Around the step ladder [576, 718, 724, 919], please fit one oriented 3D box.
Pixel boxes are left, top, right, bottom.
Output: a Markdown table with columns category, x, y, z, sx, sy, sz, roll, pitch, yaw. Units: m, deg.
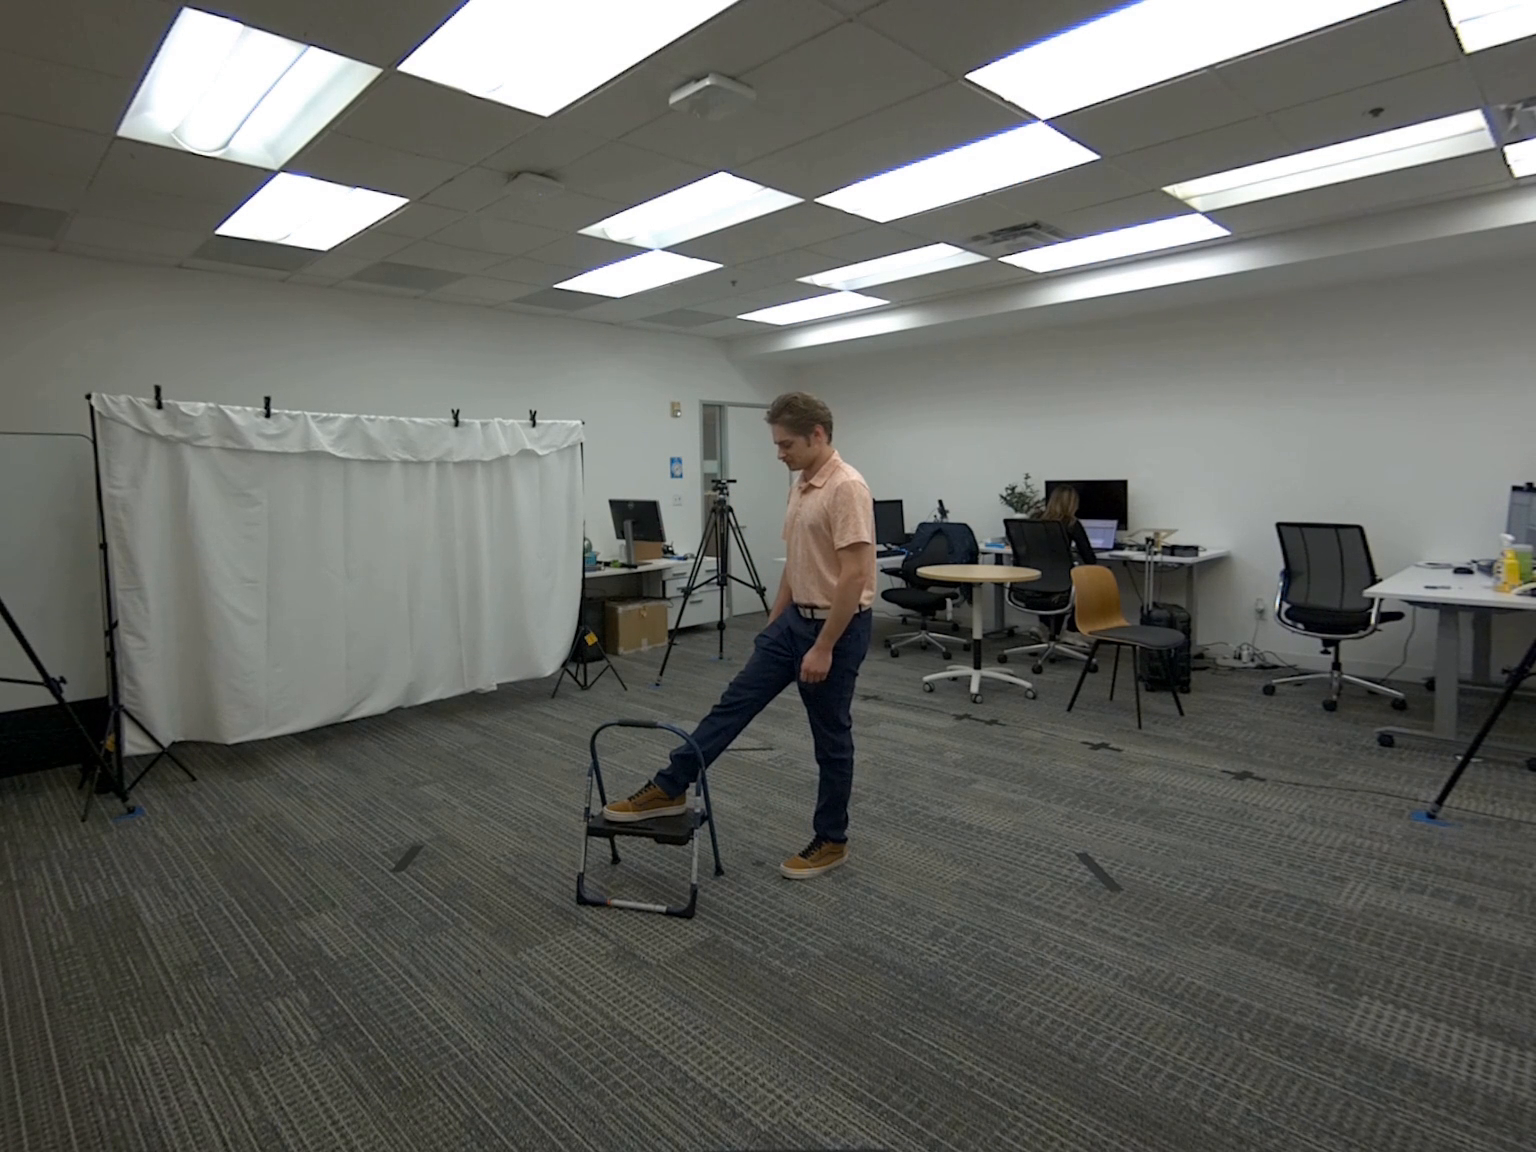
| category | x | y | z | sx | sy | sz | roll | pitch | yaw |
| --- | --- | --- | --- | --- | --- | --- | --- | --- | --- |
| step ladder | -0.404 | 0.775 | 2.918 | 0.437 | 0.604 | 0.346 | 0 | 5 | 14 |
